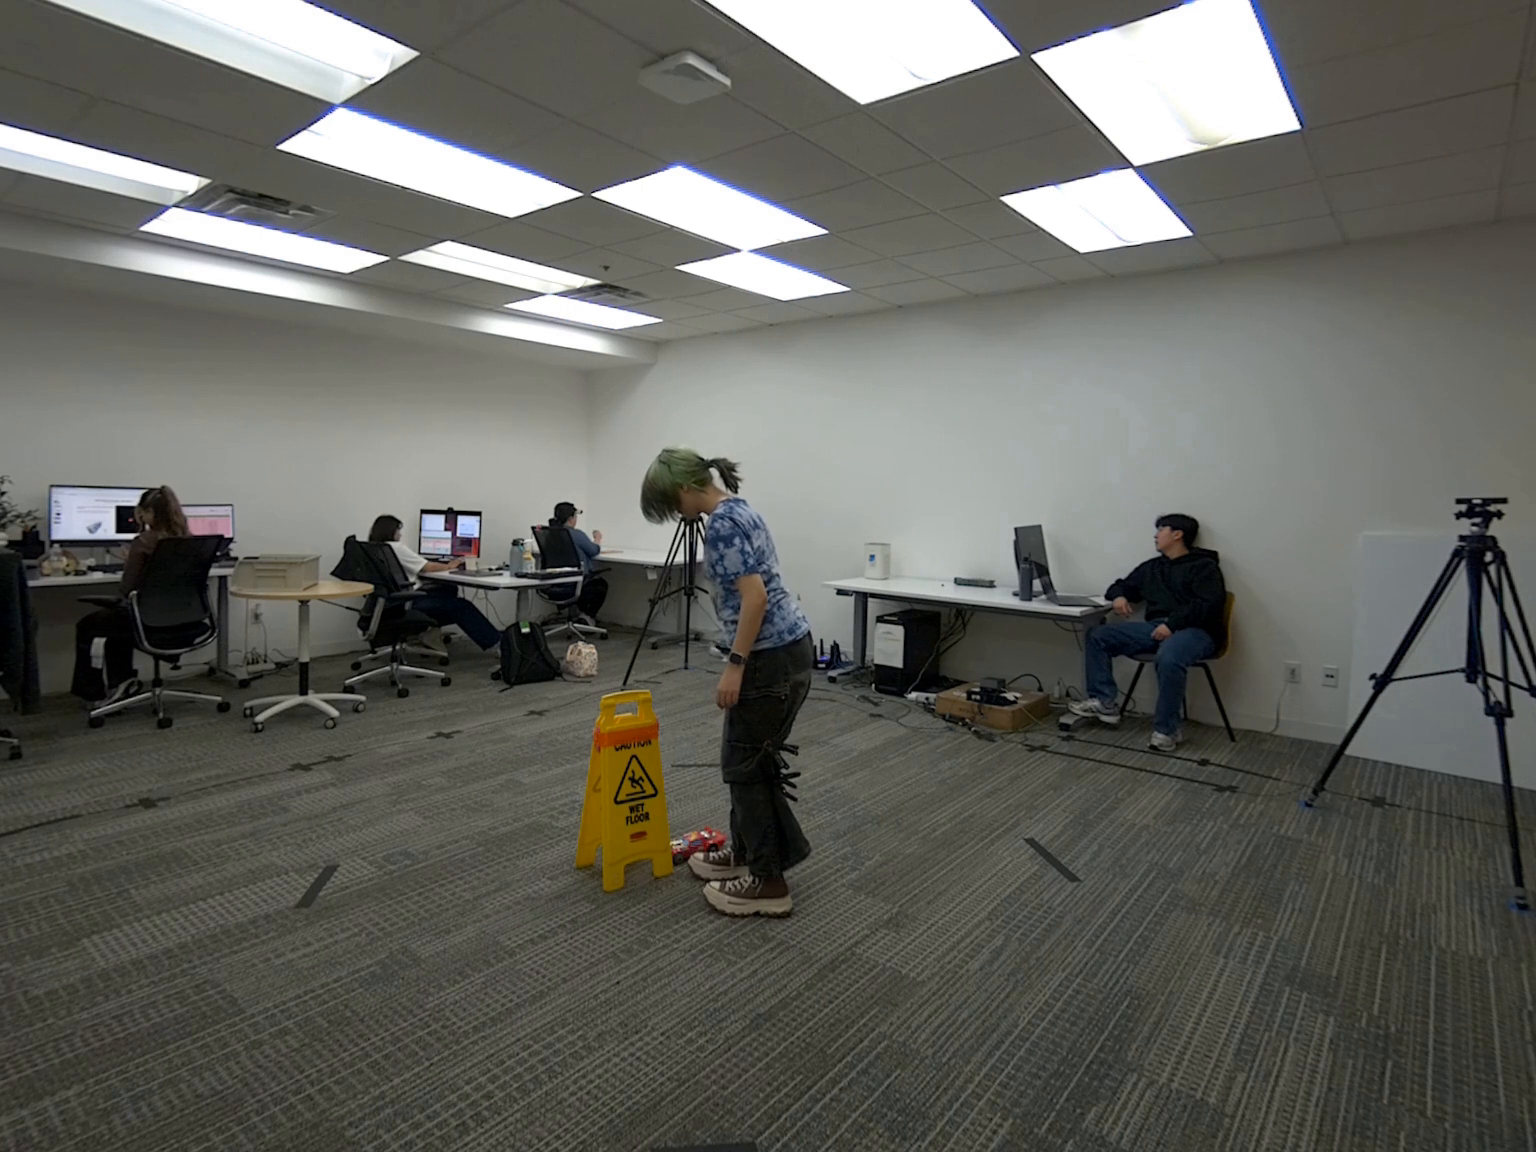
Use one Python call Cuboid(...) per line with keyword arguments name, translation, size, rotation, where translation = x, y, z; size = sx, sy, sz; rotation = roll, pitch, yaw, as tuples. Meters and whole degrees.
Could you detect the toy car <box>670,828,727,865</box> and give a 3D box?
Cuboid(name="toy car", translation=(-0.287, 1.030, 3.242), size=(0.250, 0.082, 0.134), rotation=(-17, 14, -27))
